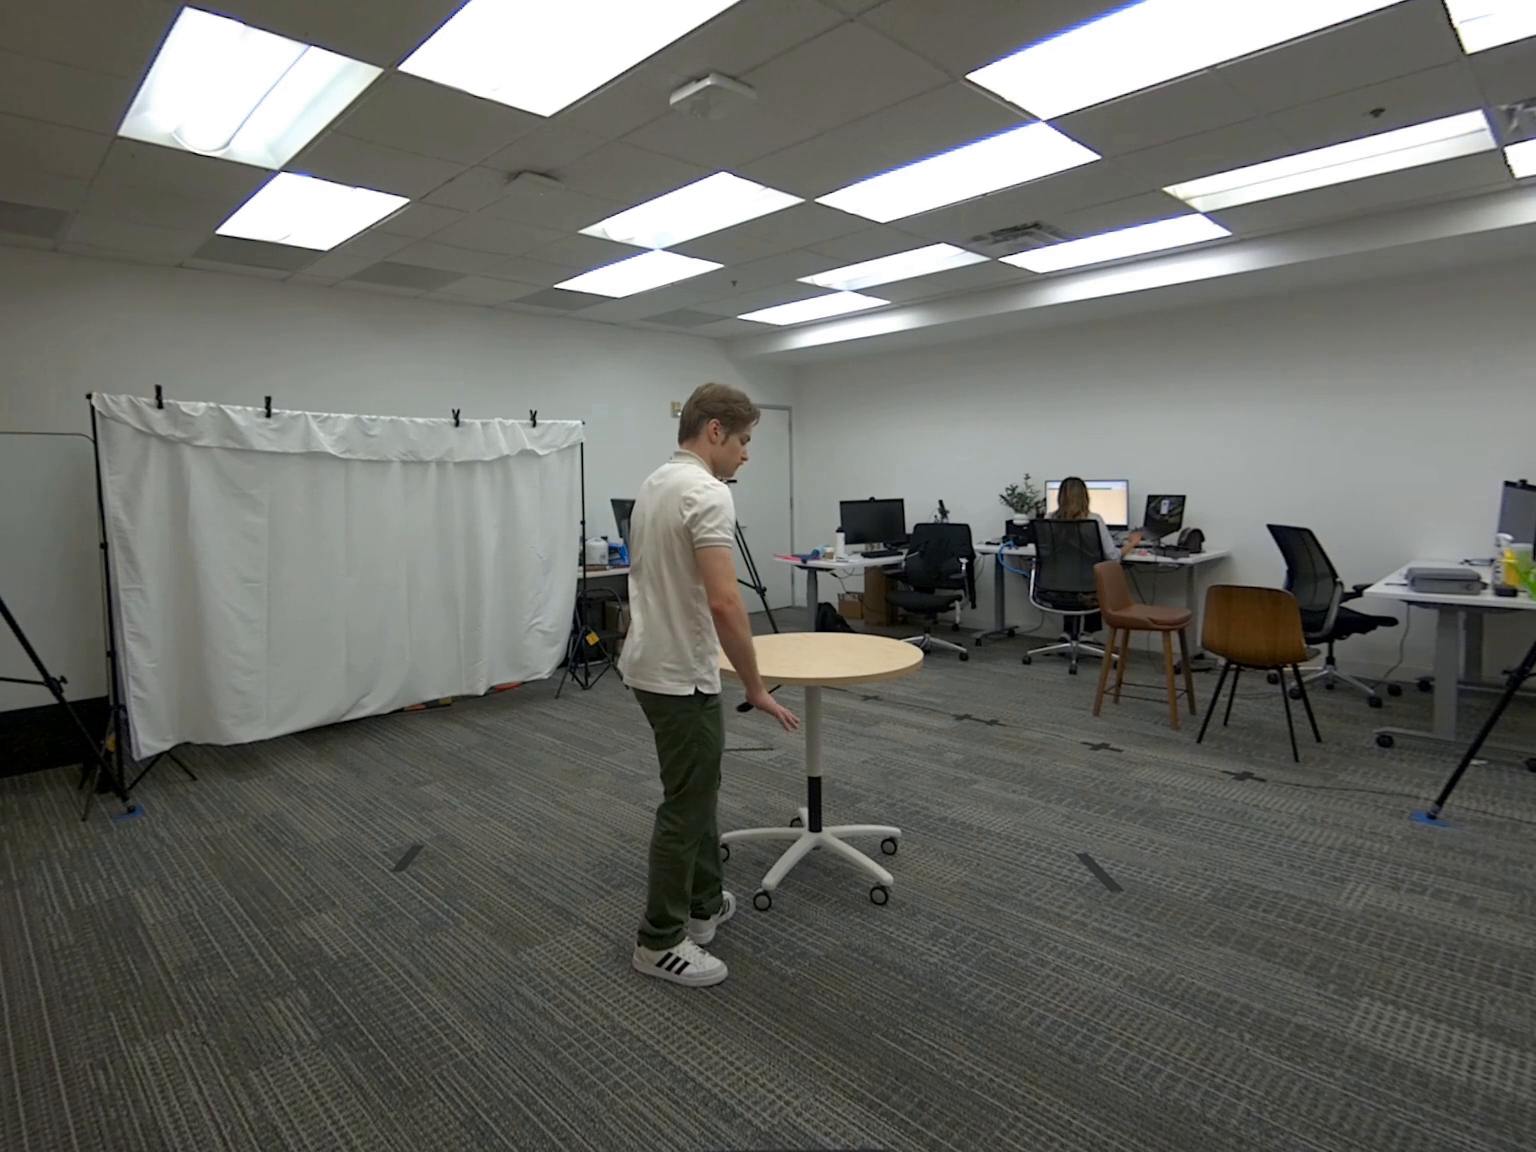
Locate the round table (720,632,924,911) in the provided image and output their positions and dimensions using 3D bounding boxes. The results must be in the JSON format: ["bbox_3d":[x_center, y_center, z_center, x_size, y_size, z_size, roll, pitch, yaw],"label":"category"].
[{"bbox_3d":[0.178,0.658,3.043,0.784,0.783,0.789,-2,5,-2],"label":"round table"}]
